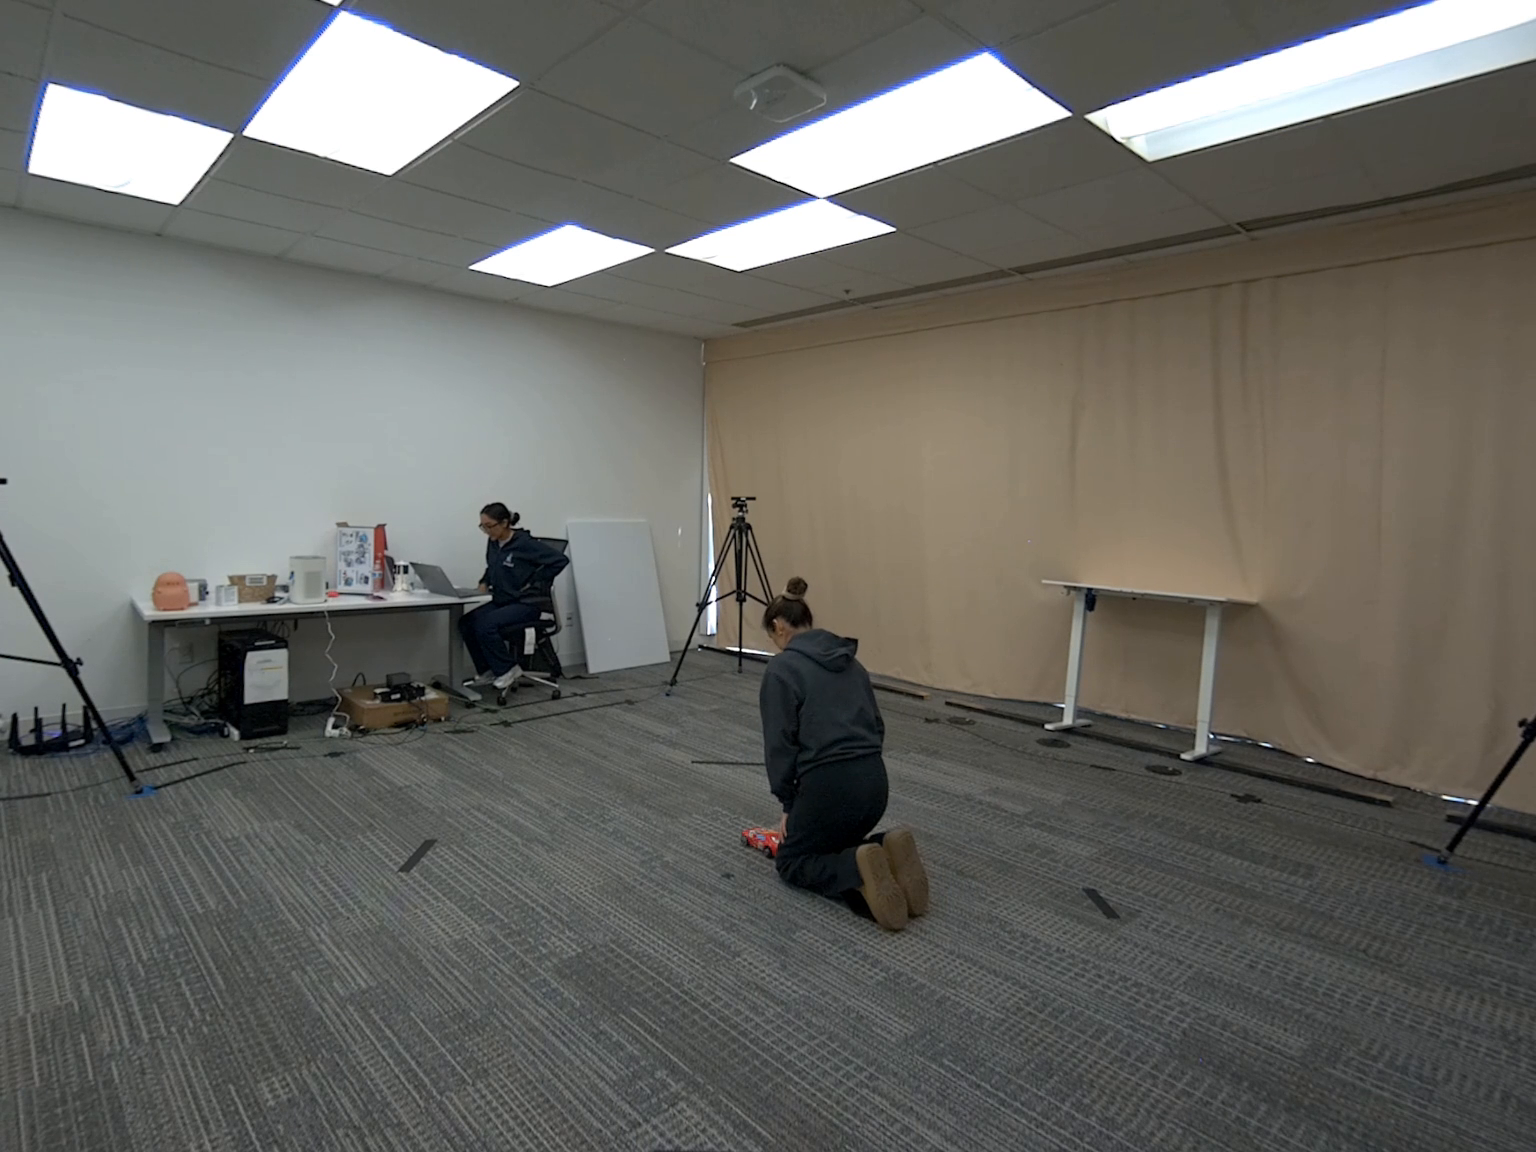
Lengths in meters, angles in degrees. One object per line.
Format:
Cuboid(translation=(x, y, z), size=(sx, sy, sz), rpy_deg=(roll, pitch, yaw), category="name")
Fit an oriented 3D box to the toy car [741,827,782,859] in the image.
Cuboid(translation=(0.000, 1.058, 3.353), size=(0.127, 0.083, 0.259), rpy_deg=(-1, -5, -40), category="toy car")
